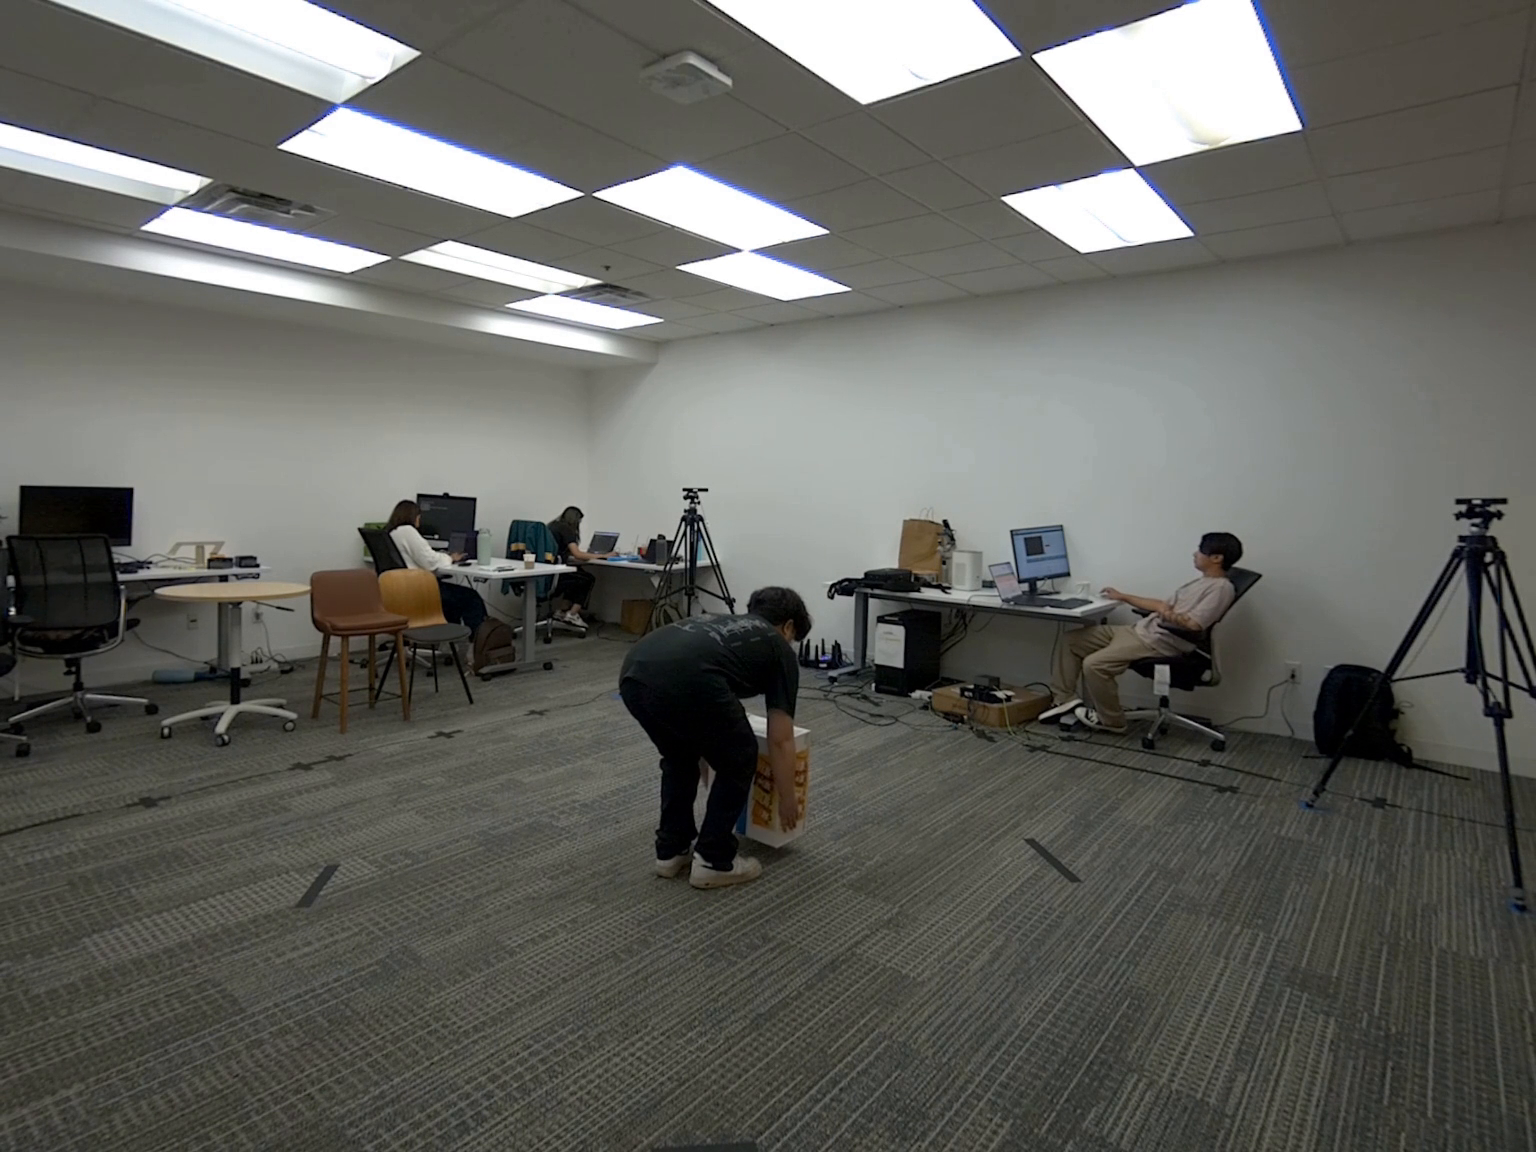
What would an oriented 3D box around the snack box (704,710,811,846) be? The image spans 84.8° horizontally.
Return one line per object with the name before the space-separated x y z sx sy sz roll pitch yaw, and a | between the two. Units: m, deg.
snack box | -0.046 0.775 3.304 0.352 0.403 0.199 6 6 38
